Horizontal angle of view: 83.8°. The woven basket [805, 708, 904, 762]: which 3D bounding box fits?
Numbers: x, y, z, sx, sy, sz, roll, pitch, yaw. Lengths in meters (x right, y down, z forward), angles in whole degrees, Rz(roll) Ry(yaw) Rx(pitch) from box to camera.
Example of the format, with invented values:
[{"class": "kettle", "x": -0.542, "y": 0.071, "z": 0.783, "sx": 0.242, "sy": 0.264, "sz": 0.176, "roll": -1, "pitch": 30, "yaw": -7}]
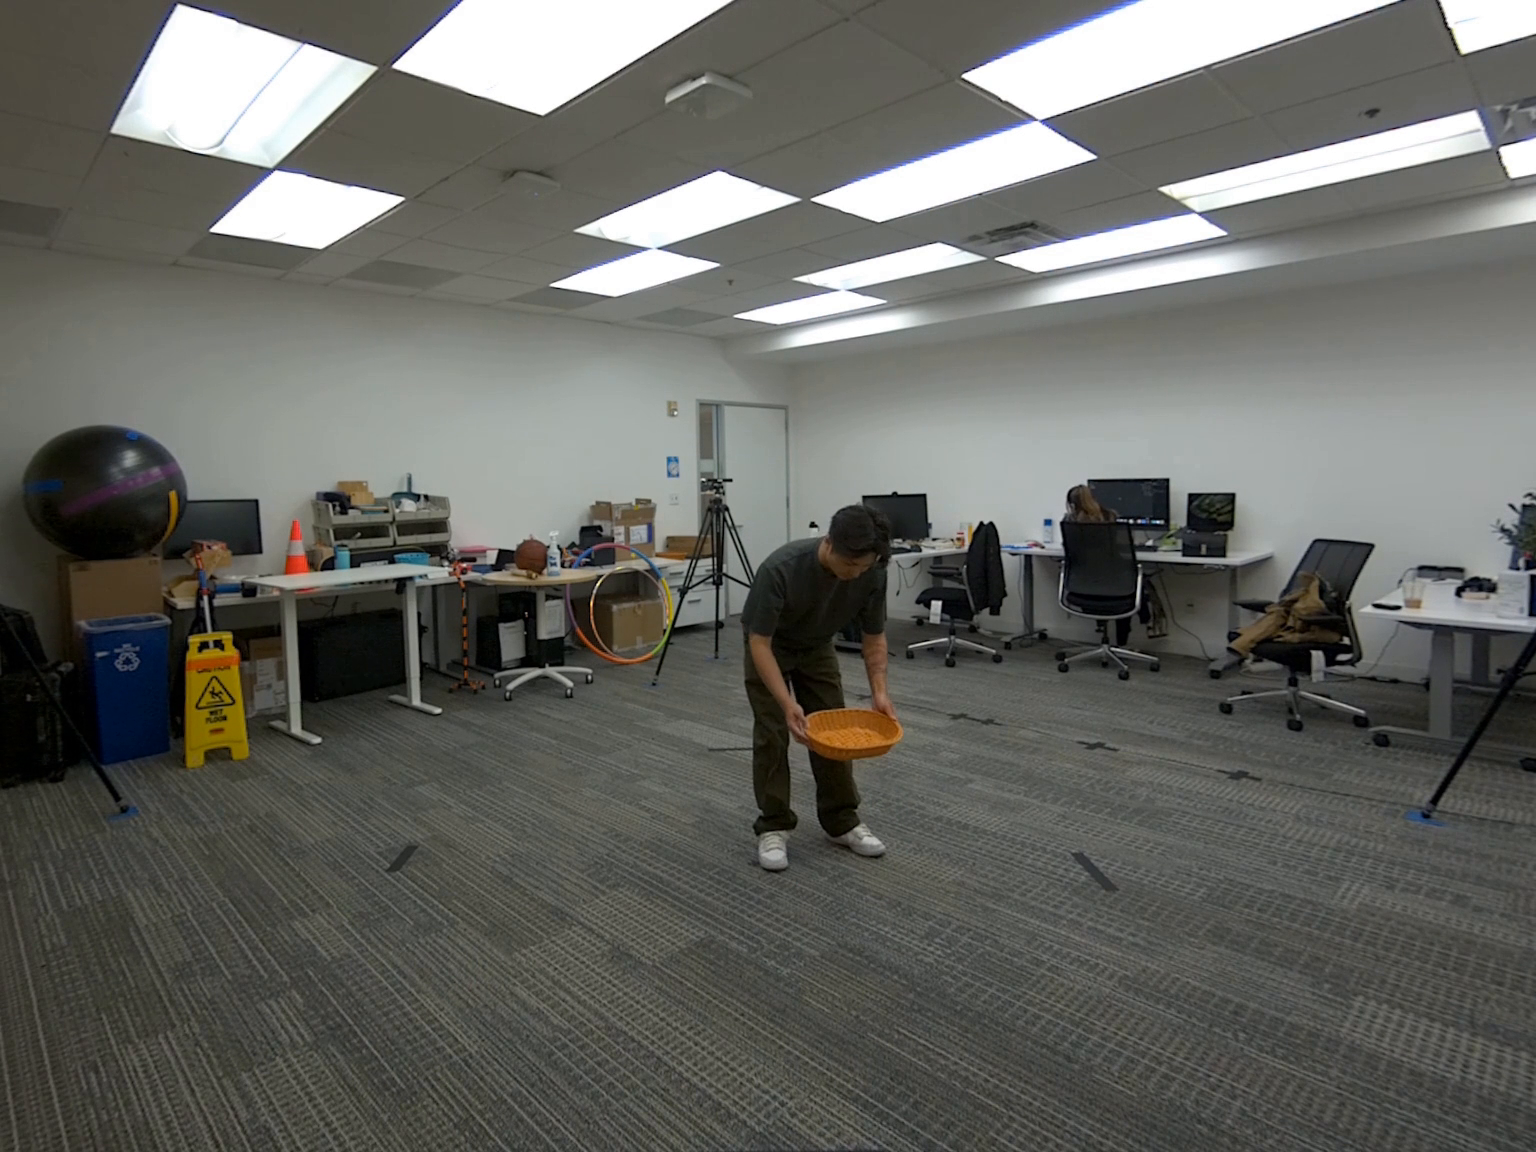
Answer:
[{"class": "woven basket", "x": 0.291, "y": 0.535, "z": 2.845, "sx": 0.343, "sy": 0.072, "sz": 0.261, "roll": -4, "pitch": 19, "yaw": -25}]
